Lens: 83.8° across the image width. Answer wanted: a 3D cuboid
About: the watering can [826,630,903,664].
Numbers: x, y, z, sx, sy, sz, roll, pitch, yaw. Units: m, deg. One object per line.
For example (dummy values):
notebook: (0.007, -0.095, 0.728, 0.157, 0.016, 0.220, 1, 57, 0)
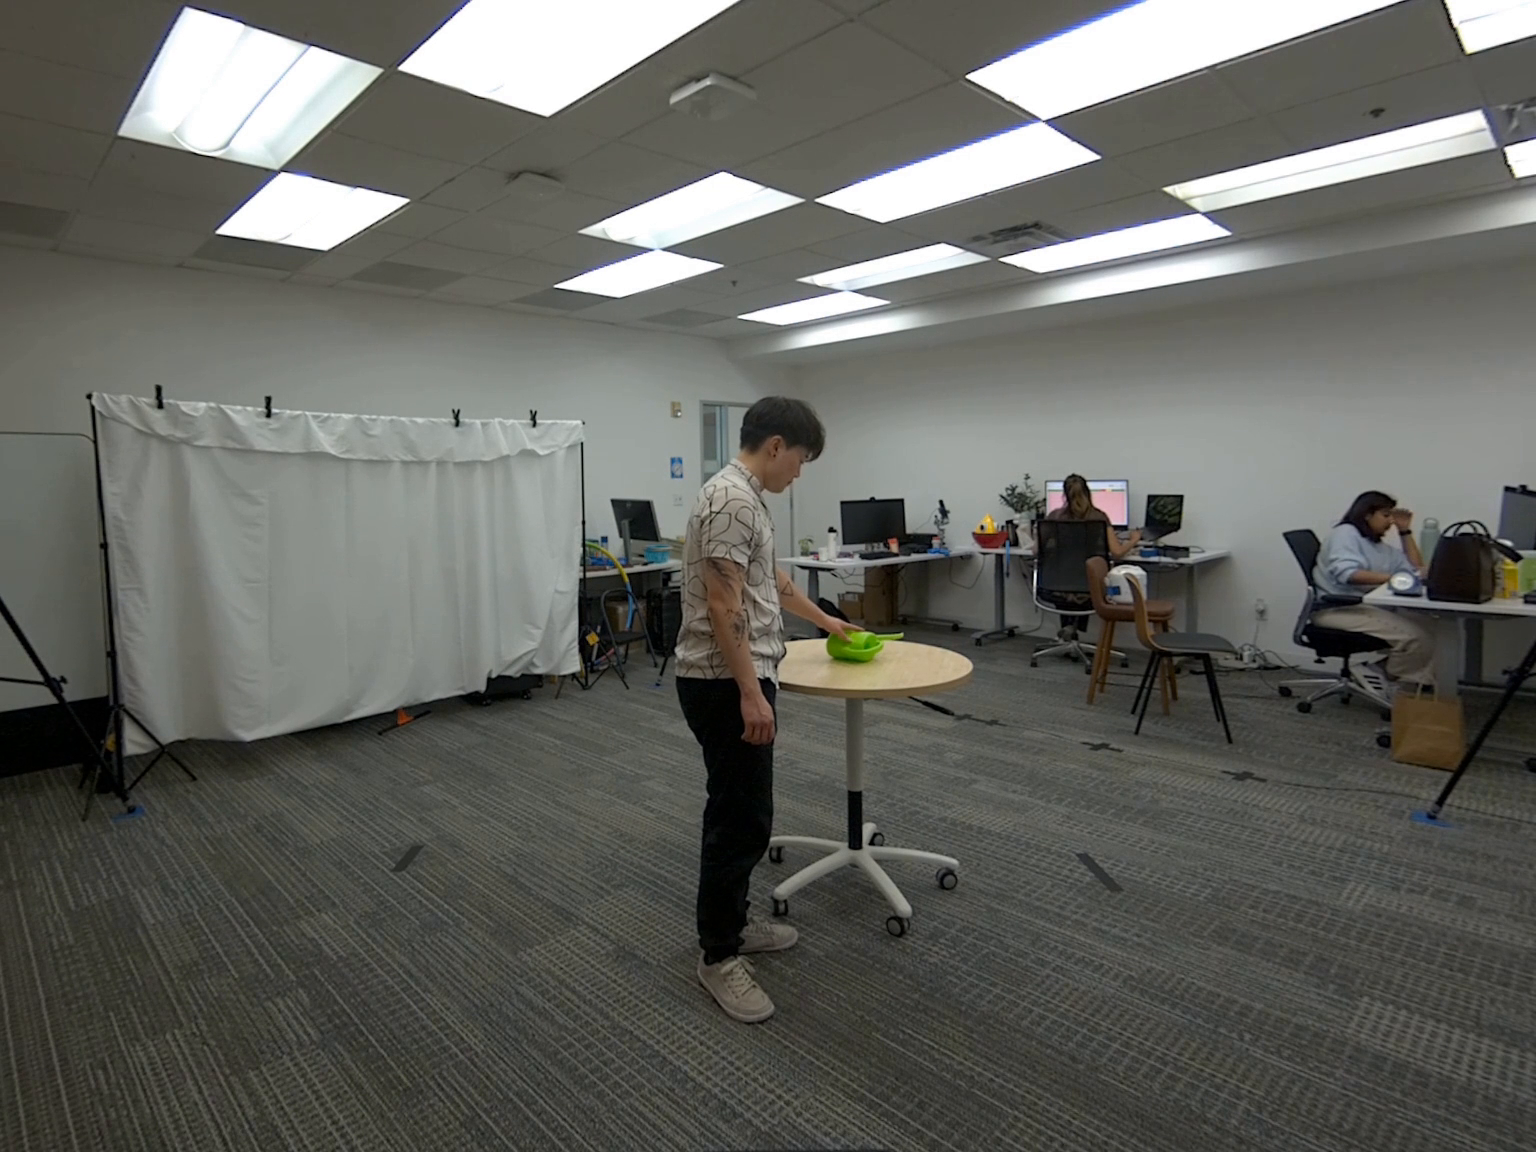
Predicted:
watering can: (0.331, 0.239, 2.914, 0.182, 0.098, 0.270, 3, -1, 34)
